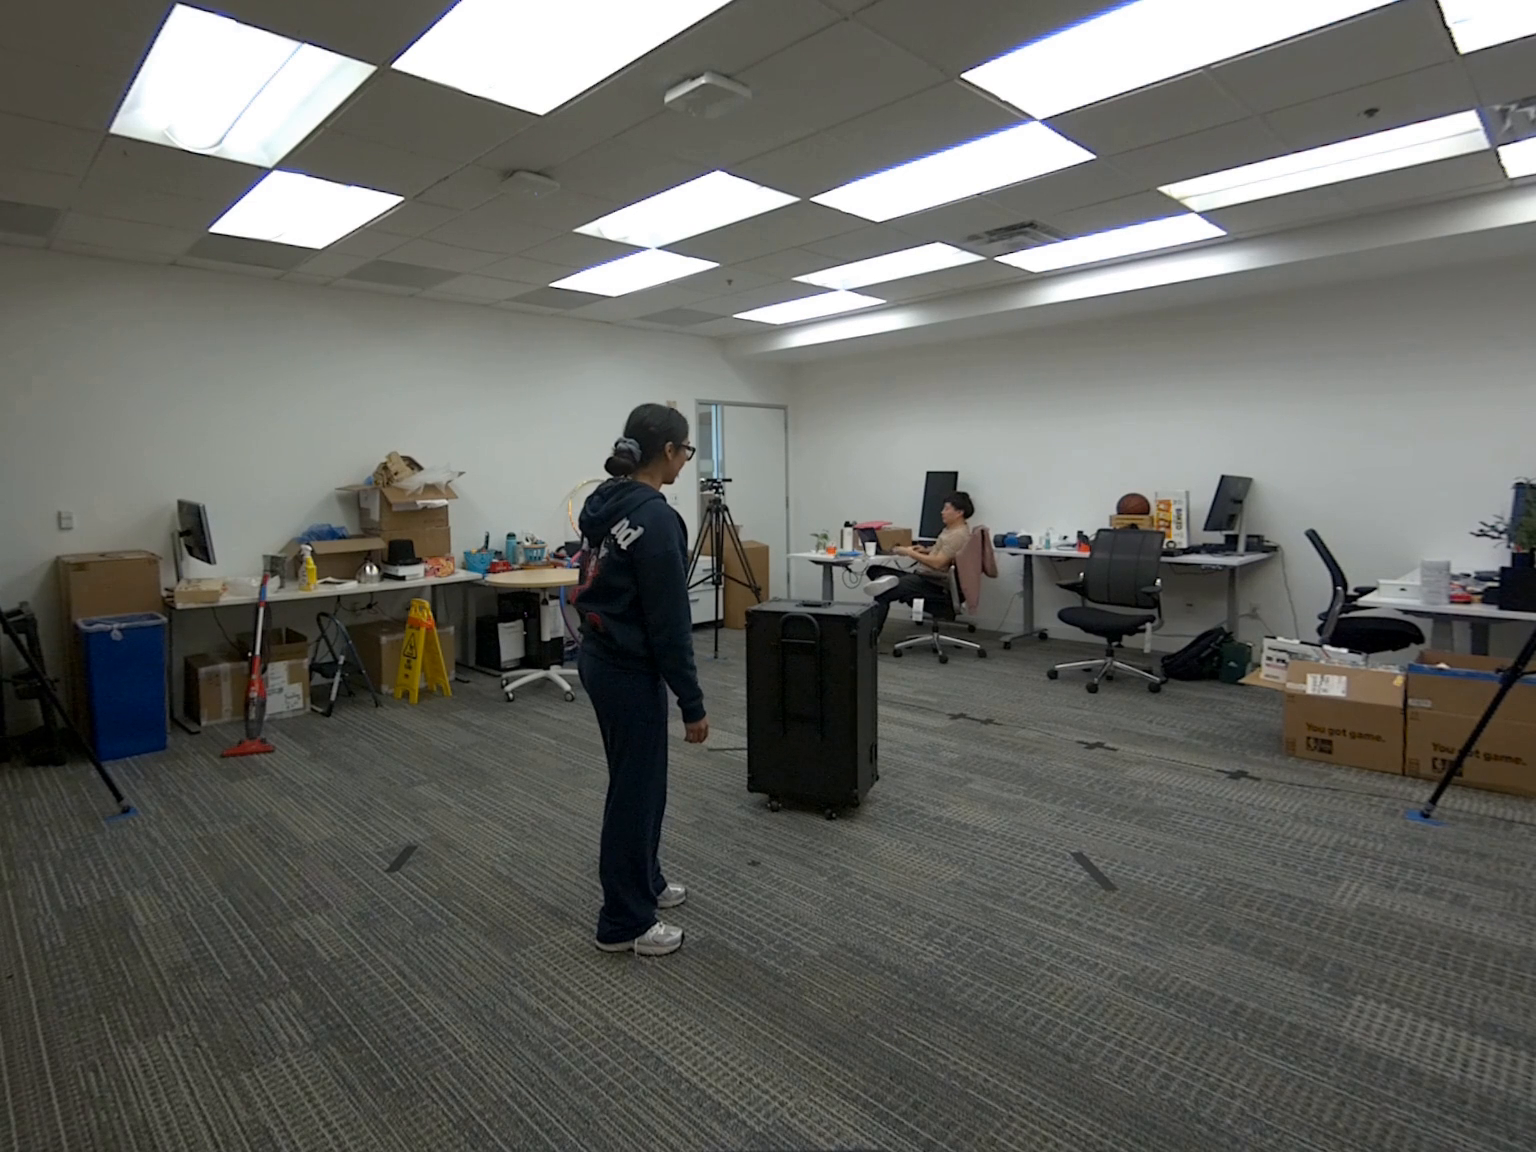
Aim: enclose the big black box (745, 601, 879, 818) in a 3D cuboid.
[{"bbox_3d":[0.200,0.555,3.652,0.532,0.858,0.389,2,5,22],"label":"big black box"}]
